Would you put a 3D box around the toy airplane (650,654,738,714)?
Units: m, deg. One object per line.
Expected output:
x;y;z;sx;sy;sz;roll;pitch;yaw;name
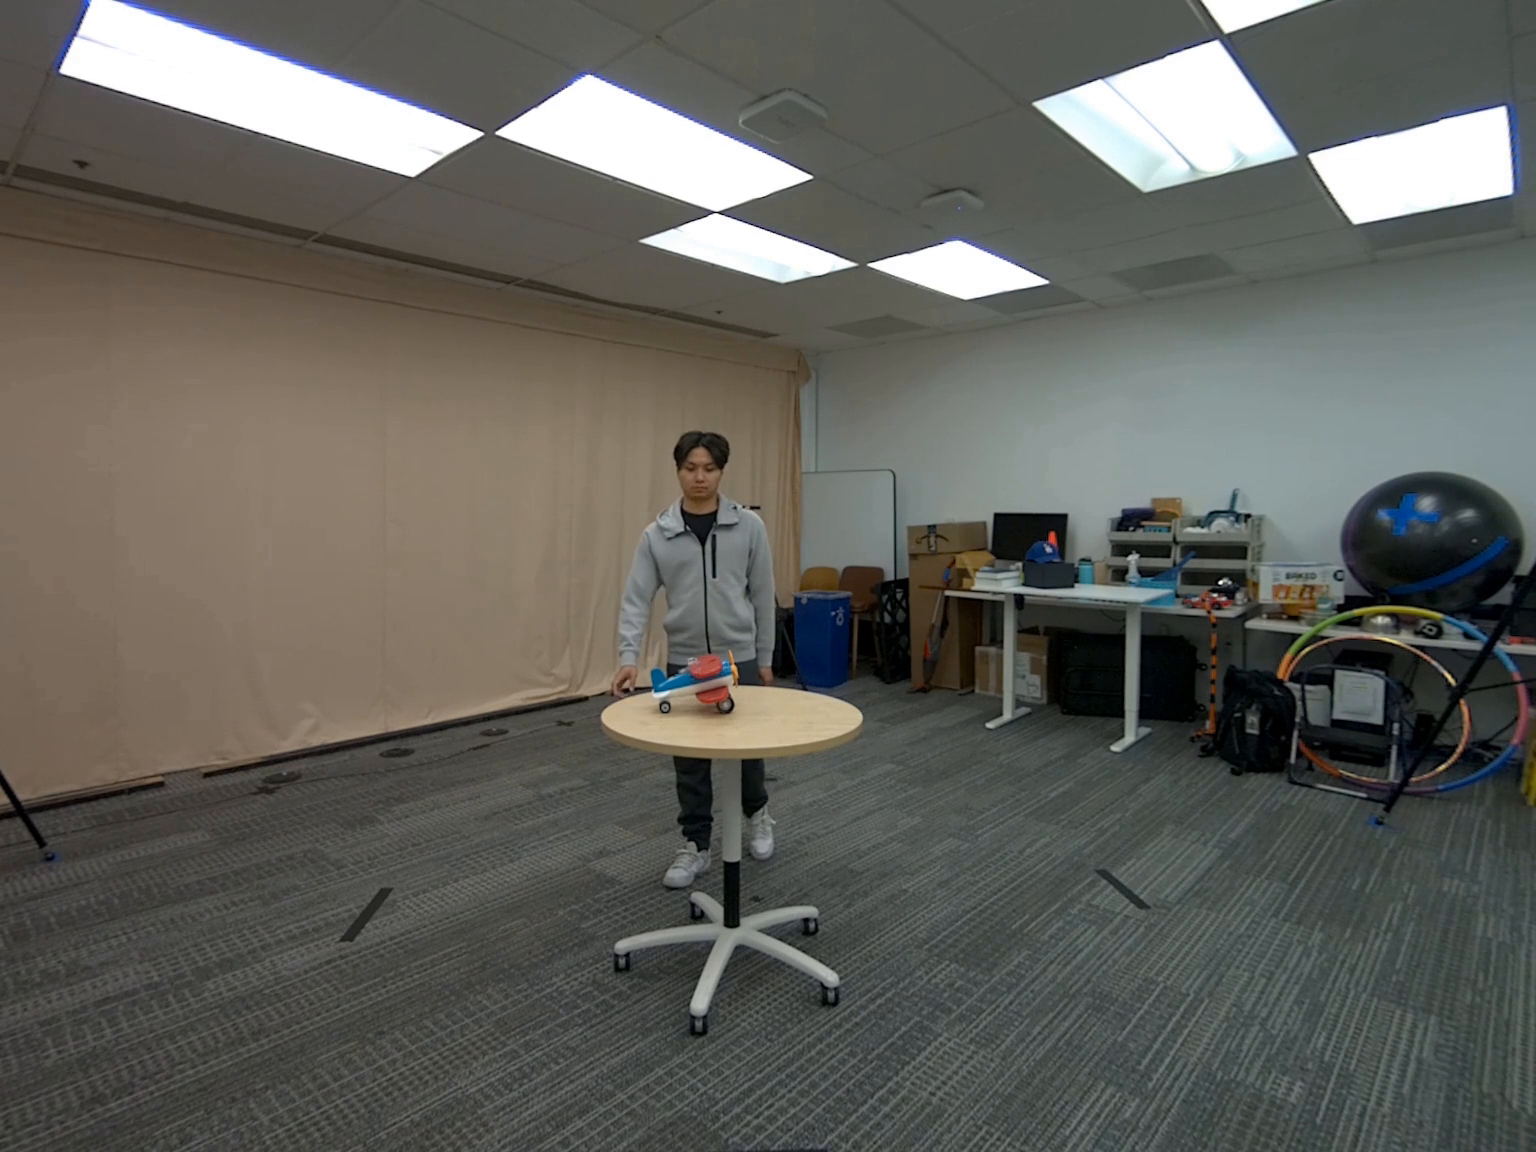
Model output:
-0.219;0.328;2.490;0.252;0.156;0.259;-1;4;-34;toy airplane
